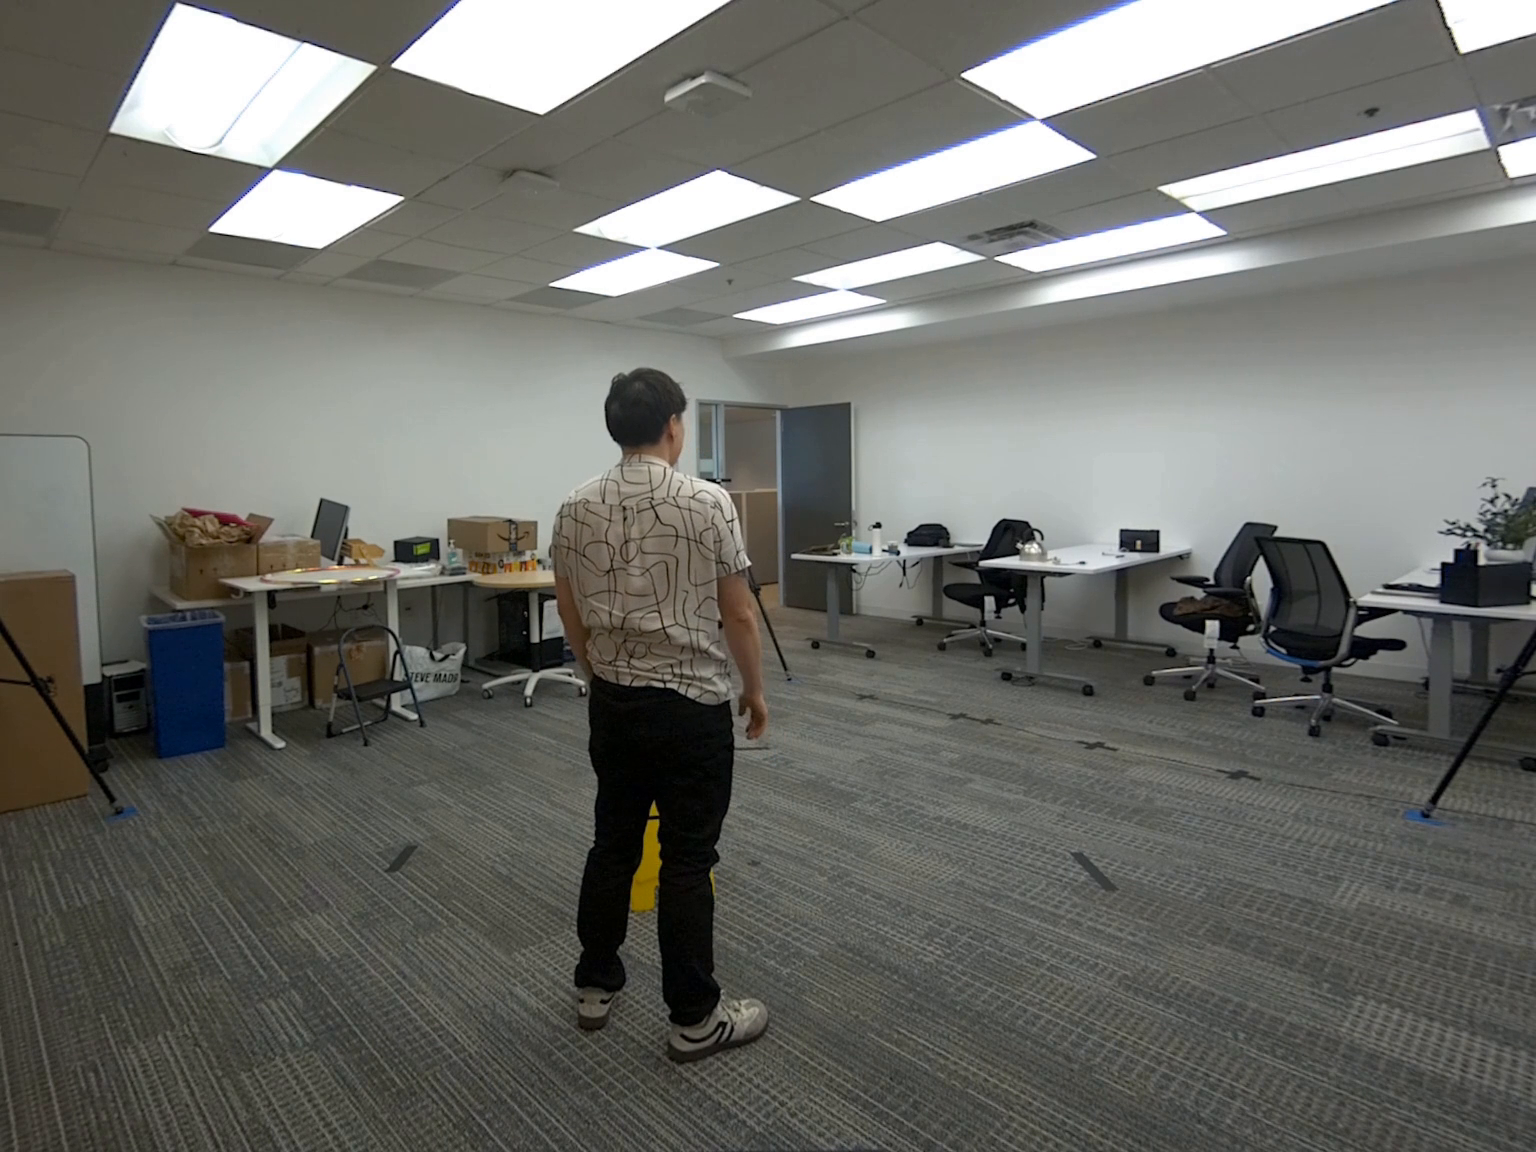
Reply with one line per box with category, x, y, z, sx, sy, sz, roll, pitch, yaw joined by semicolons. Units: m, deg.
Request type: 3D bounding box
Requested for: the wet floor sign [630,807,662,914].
wet floor sign;-0.341;0.744;2.919;0.279;0.644;0.294;-2;4;-13
